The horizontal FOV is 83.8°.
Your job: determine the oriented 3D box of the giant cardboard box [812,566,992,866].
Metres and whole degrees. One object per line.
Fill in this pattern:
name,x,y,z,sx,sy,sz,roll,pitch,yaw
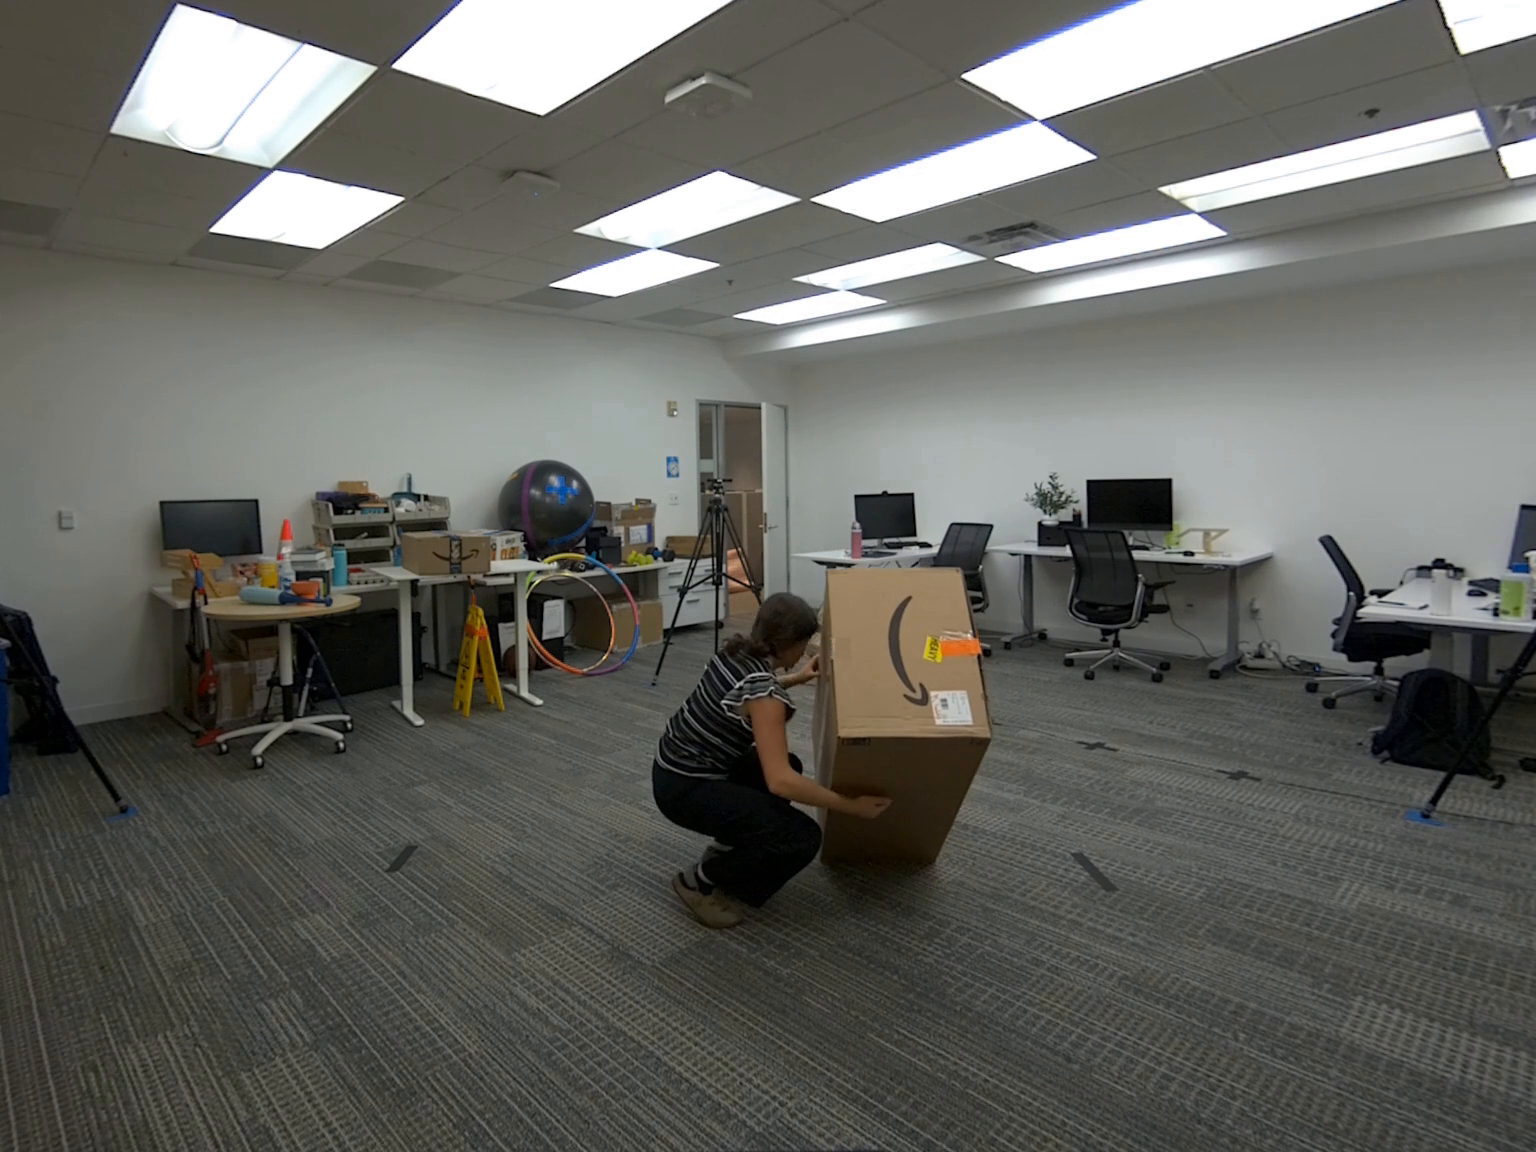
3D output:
giant cardboard box,0.404,0.513,2.882,0.427,0.593,0.998,-1,-37,0
